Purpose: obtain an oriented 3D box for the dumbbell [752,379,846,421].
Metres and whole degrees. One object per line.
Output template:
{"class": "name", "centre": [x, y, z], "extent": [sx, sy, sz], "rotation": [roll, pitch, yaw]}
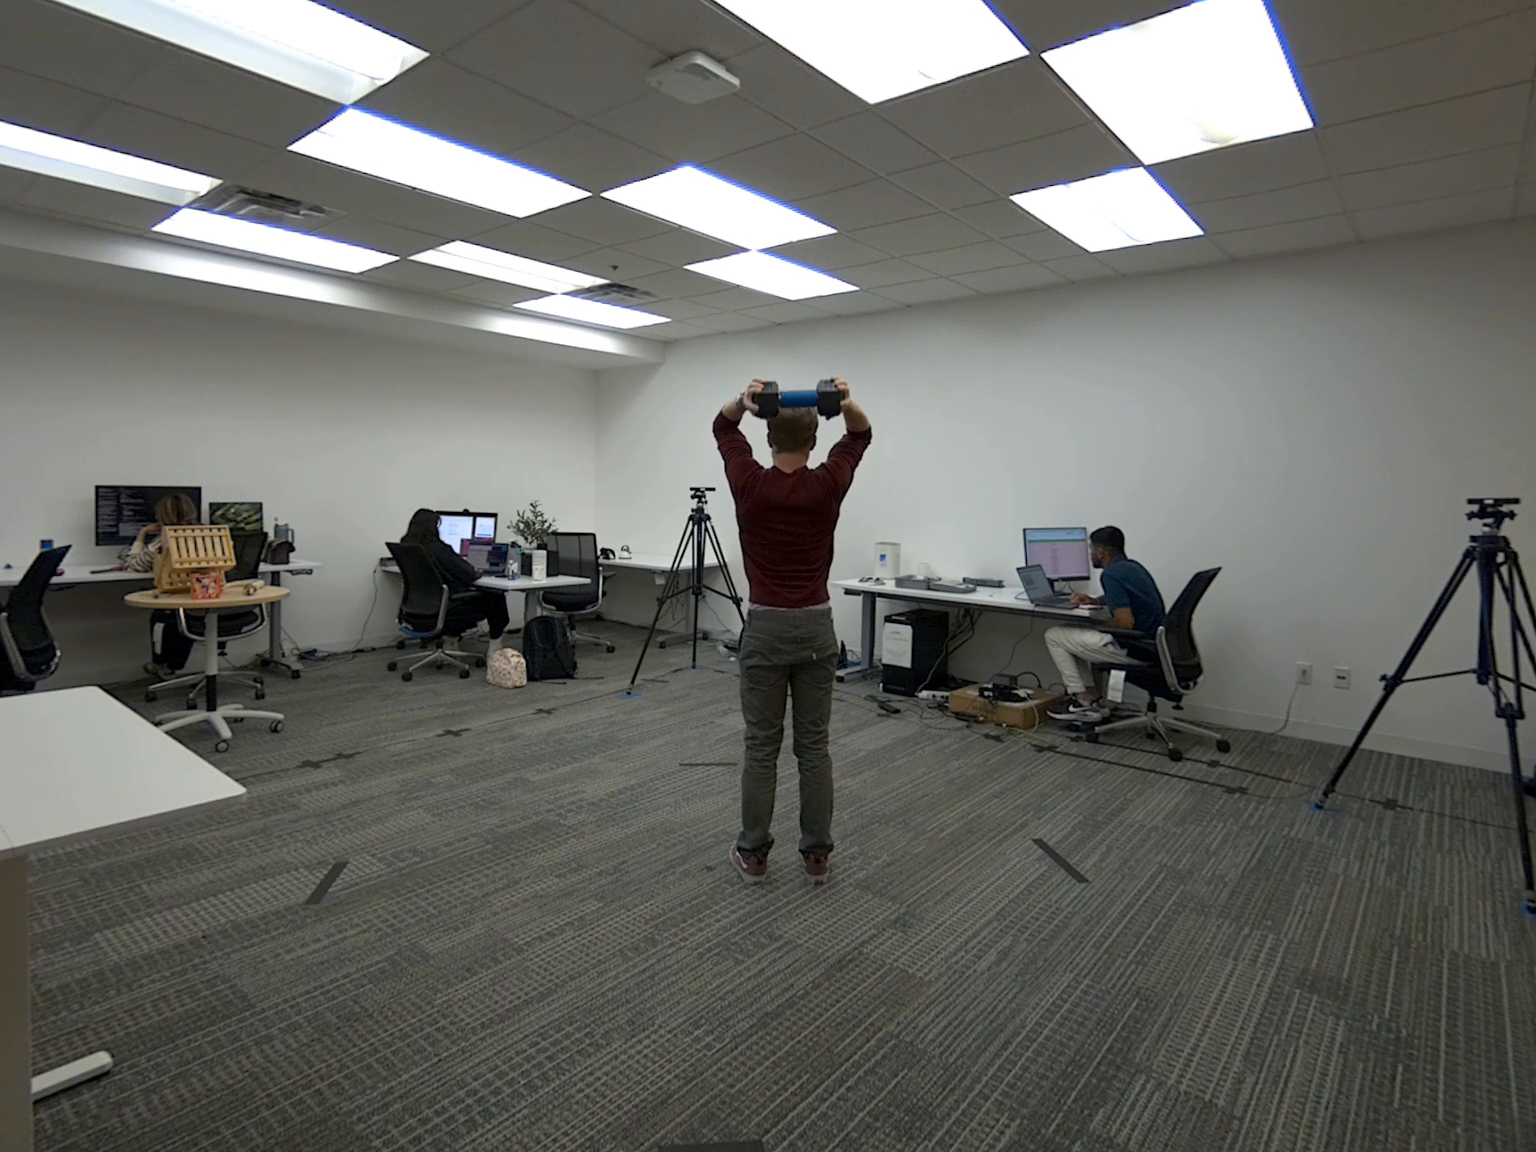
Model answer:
{"class": "dumbbell", "centre": [0.091, -0.607, 2.880], "extent": [0.295, 0.105, 0.126], "rotation": [-2, 47, 4]}
